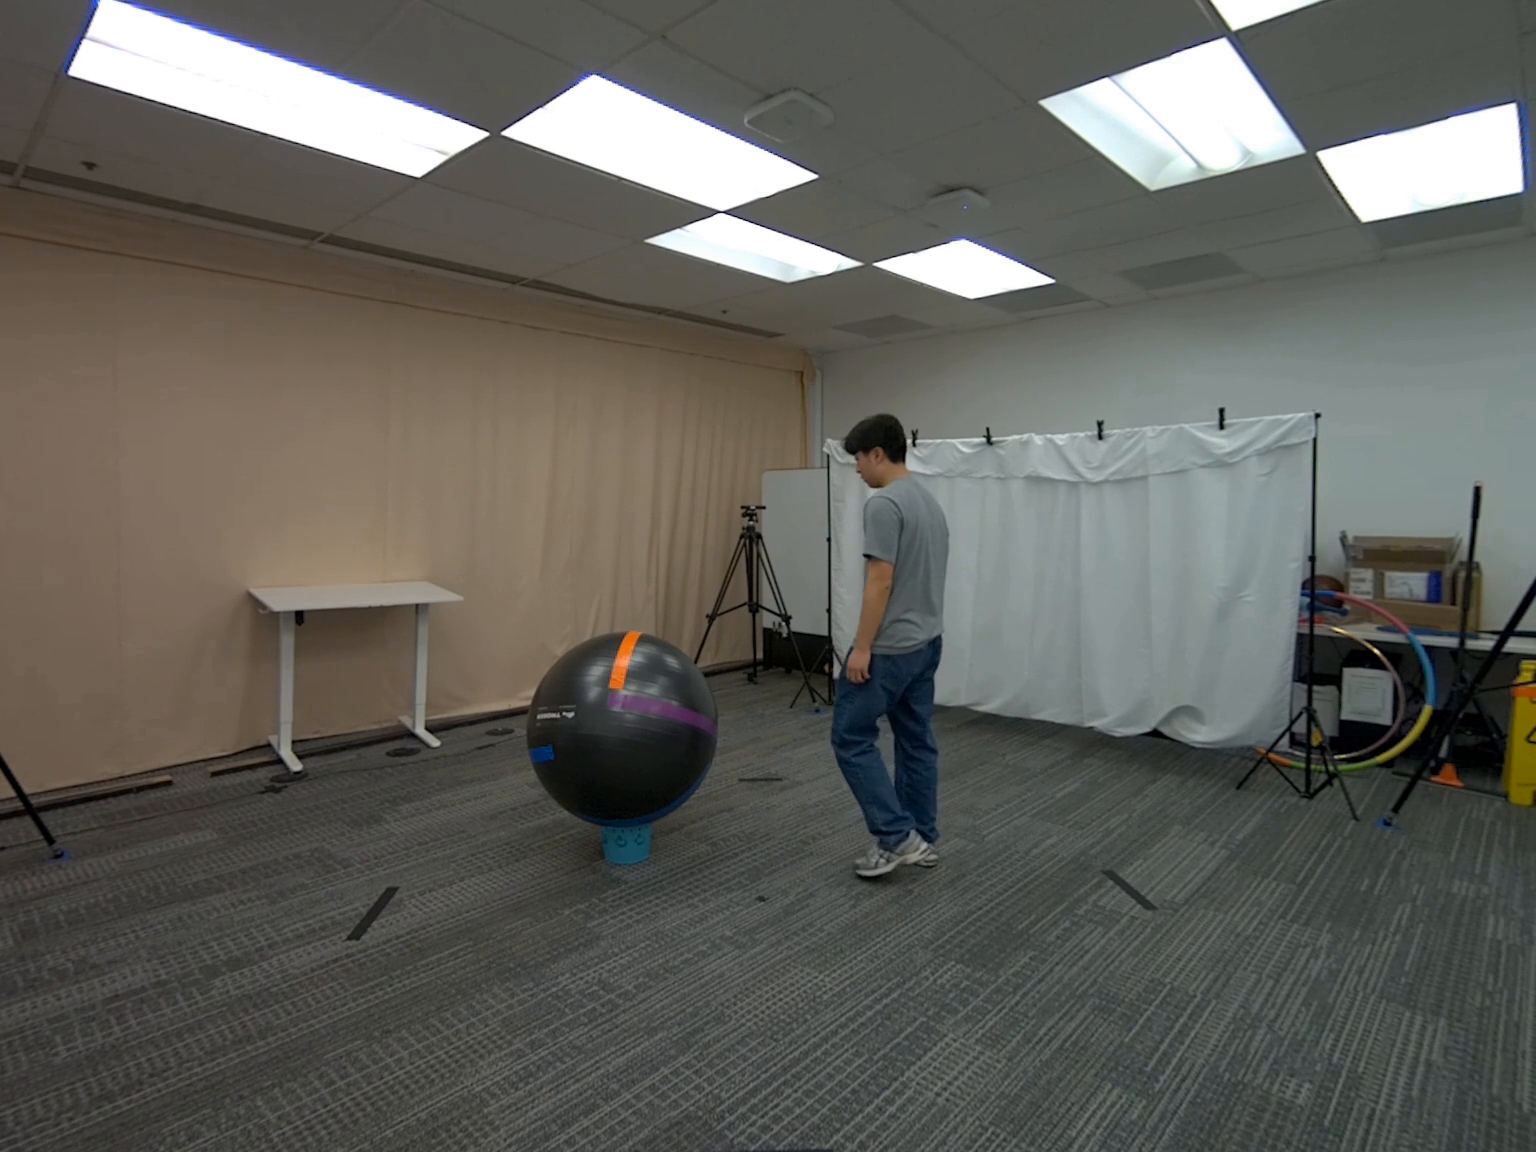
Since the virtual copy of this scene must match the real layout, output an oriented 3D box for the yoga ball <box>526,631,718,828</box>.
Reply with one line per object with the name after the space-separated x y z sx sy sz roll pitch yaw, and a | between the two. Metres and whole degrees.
-0.582 0.607 3.366 0.757 0.756 0.761 0 4 -2 | yoga ball
